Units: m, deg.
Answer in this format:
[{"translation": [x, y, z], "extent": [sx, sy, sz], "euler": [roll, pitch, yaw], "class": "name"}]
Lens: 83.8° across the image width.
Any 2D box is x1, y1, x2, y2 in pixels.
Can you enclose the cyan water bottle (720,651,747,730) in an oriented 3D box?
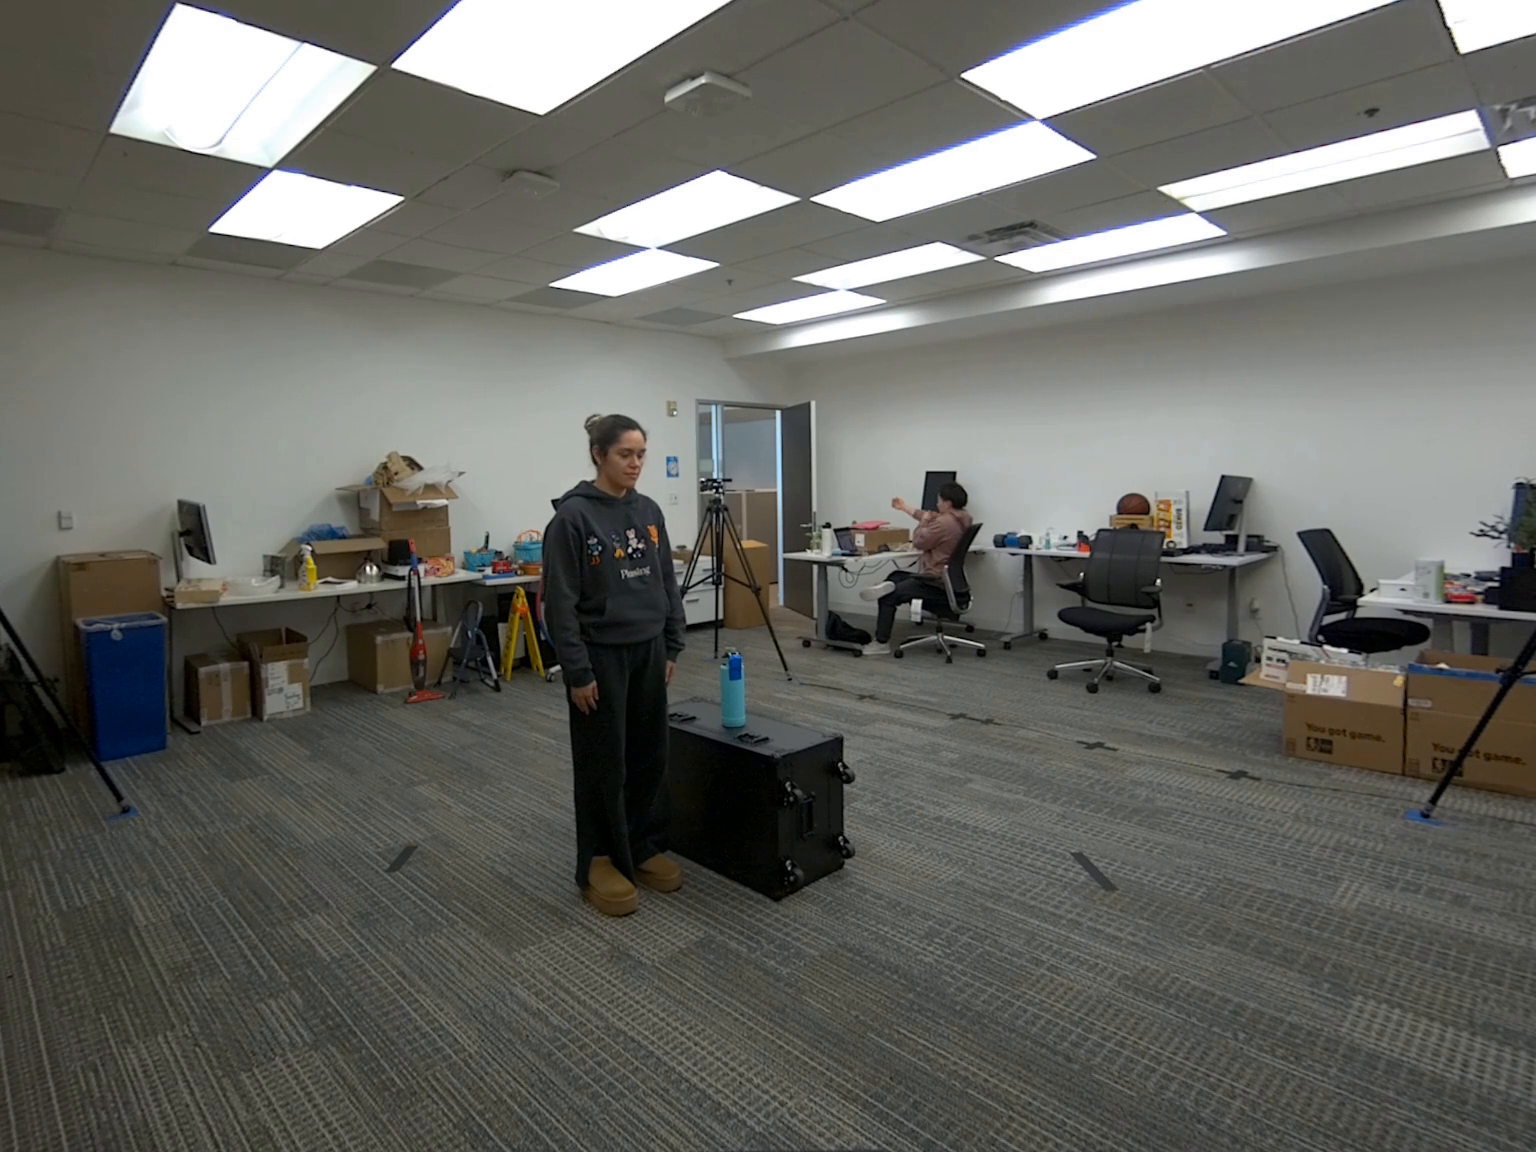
[{"translation": [-0.128, 0.413, 3.181], "extent": [0.092, 0.282, 0.093], "euler": [-1, 4, -2], "class": "cyan water bottle"}]
